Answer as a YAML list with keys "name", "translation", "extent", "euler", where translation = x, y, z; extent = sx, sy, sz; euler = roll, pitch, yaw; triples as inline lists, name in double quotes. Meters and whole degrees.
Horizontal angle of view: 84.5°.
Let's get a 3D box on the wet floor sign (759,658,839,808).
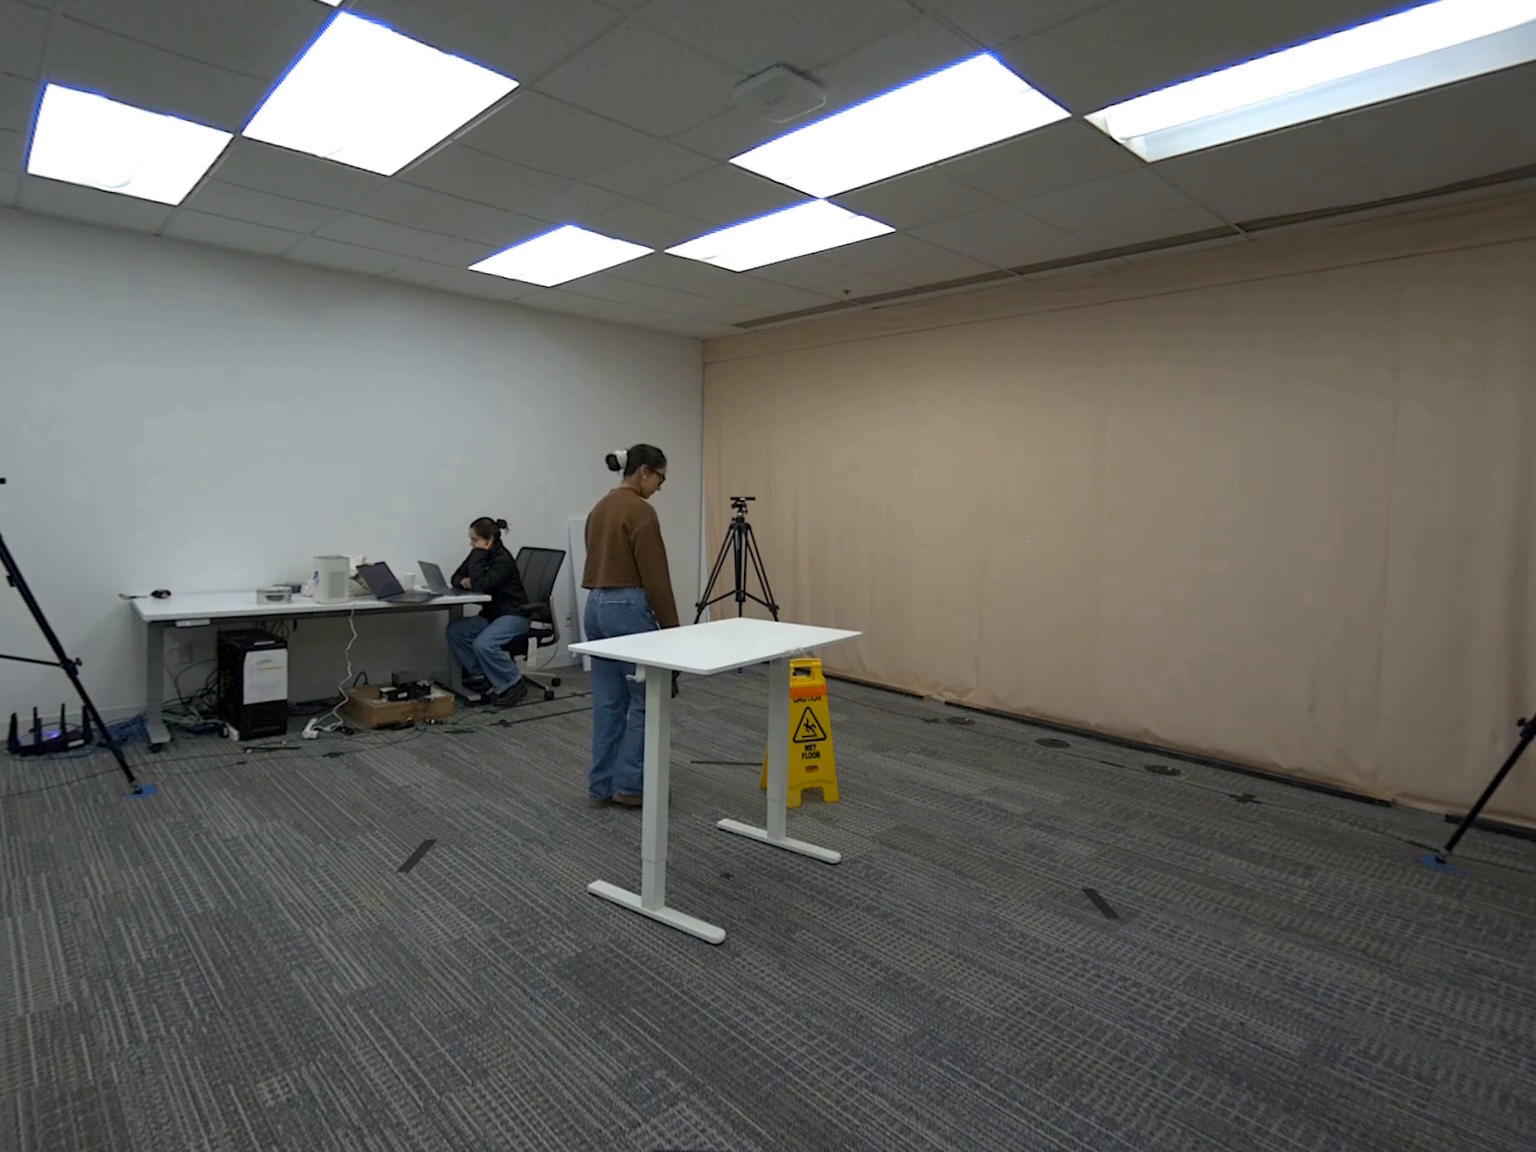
- name: "wet floor sign"
  translation: [0.141, 0.717, 3.995]
  extent: [0.277, 0.645, 0.295]
  euler: [0, 3, -26]
